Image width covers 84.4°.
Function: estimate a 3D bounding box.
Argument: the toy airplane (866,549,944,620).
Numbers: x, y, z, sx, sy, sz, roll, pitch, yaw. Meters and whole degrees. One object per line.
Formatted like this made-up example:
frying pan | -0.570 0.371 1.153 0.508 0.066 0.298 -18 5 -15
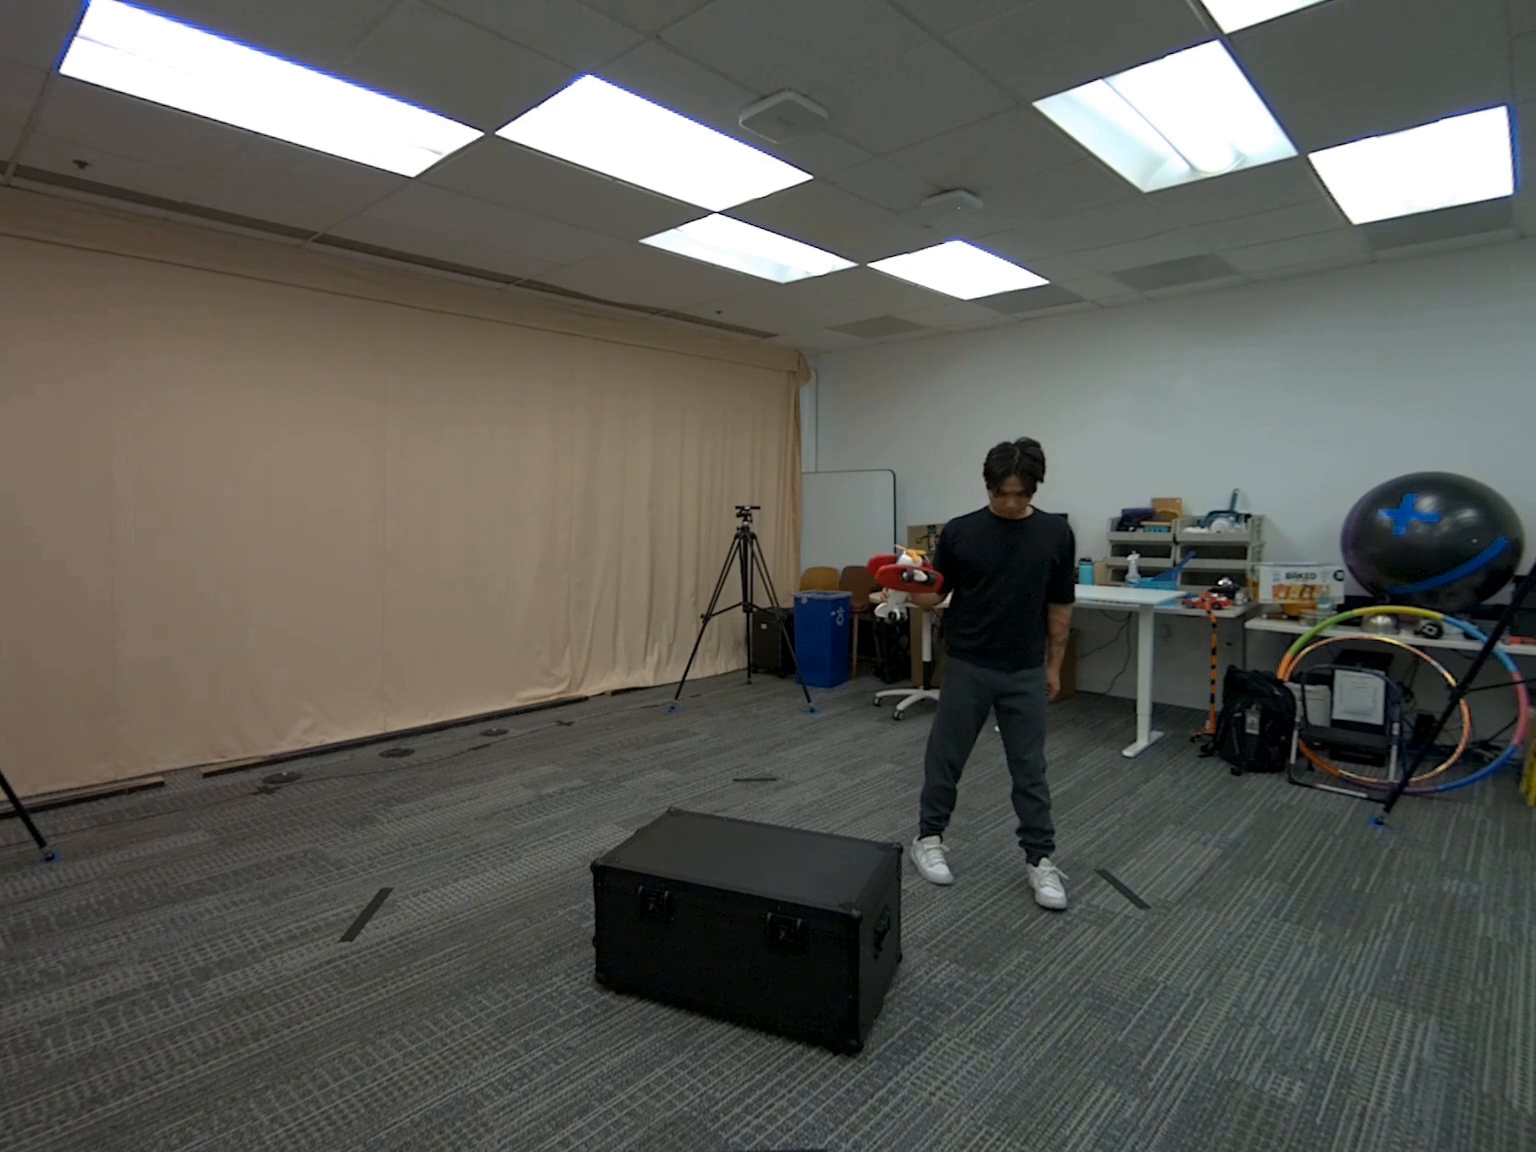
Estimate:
toy airplane | 0.451 0.022 2.912 0.261 0.160 0.243 -39 -53 21
